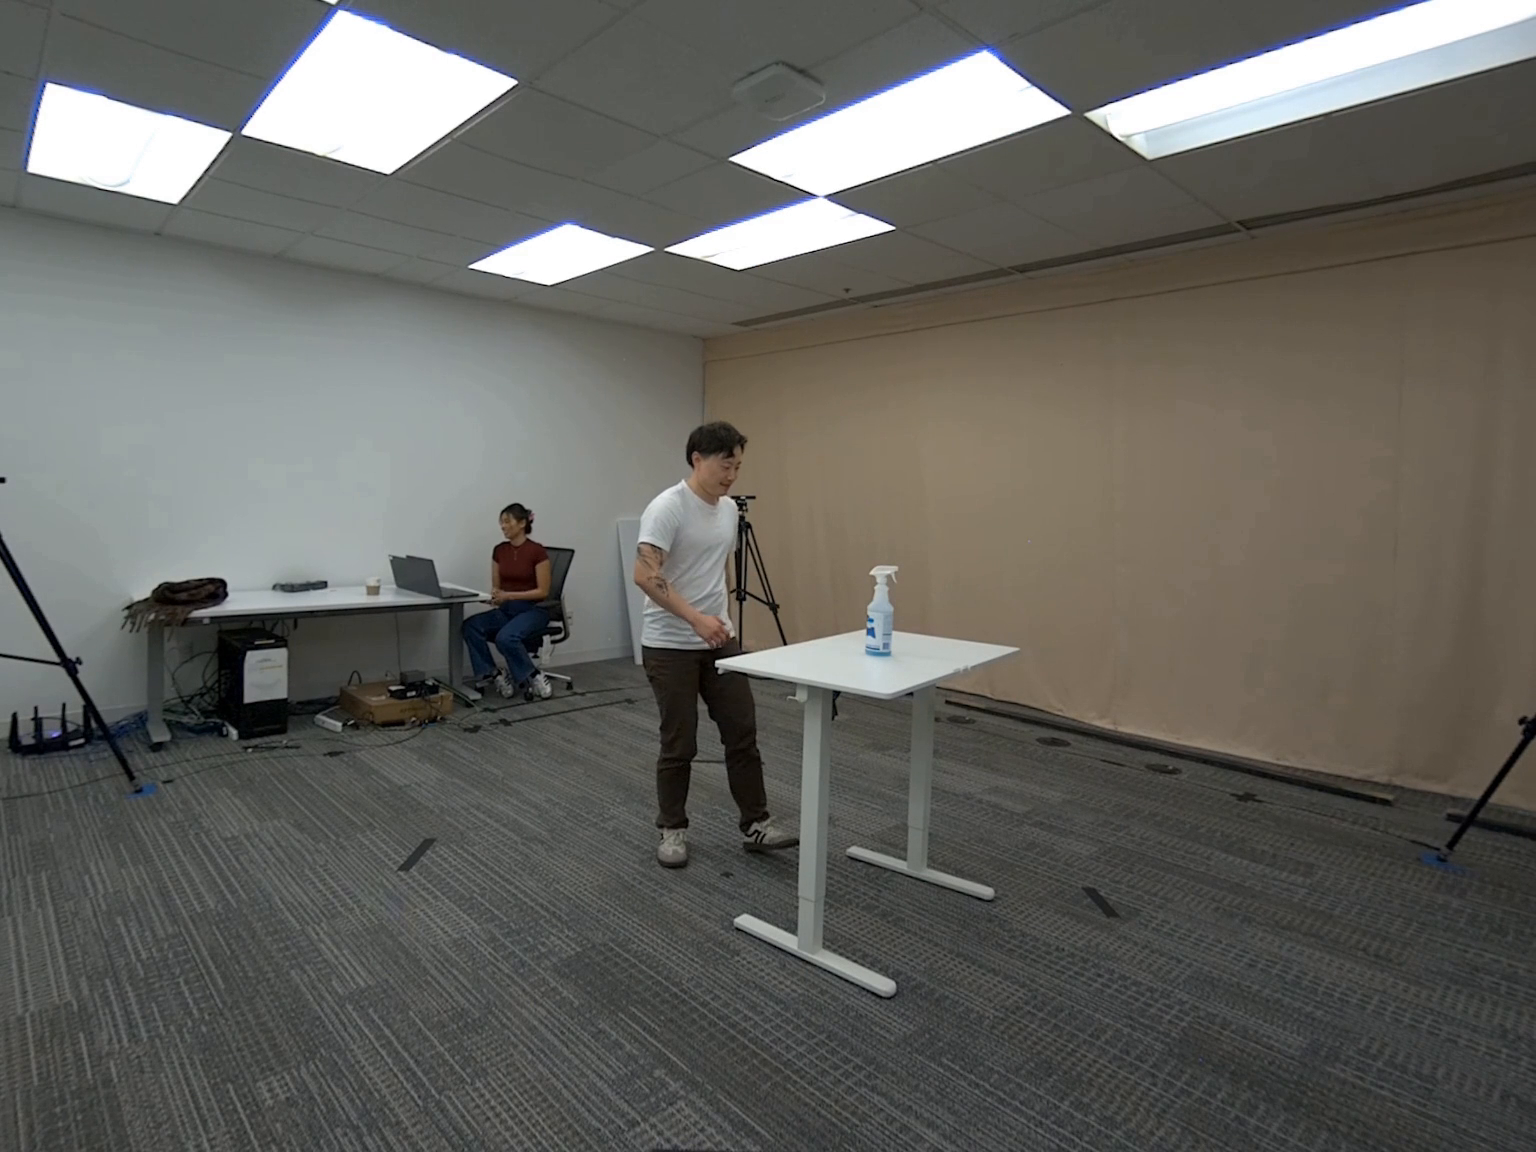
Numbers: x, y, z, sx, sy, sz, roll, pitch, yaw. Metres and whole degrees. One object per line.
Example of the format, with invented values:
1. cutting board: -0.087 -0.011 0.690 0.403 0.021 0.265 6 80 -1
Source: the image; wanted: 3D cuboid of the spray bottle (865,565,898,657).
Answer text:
1. spray bottle: 0.371 0.117 2.792 0.092 0.297 0.085 3 2 33
